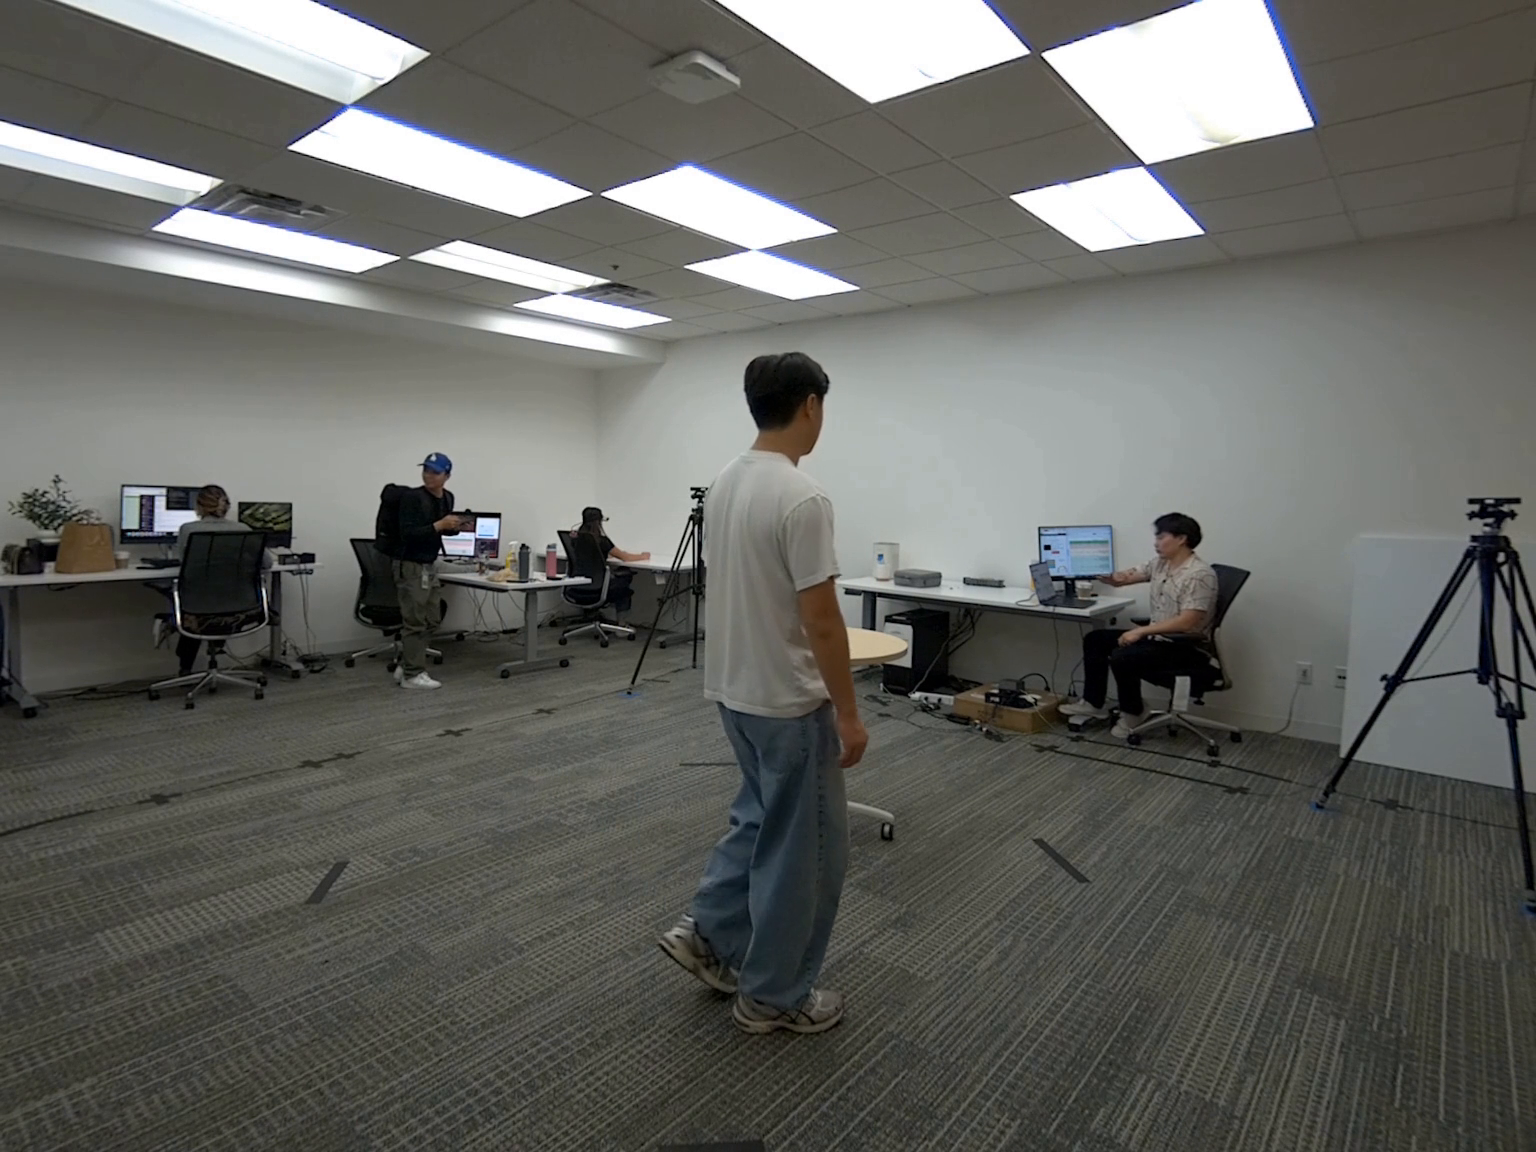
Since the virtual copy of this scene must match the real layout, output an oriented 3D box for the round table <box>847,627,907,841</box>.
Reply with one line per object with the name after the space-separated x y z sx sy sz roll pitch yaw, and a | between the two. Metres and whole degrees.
0.151 0.646 3.466 0.763 0.791 0.768 1 4 -2 | round table
